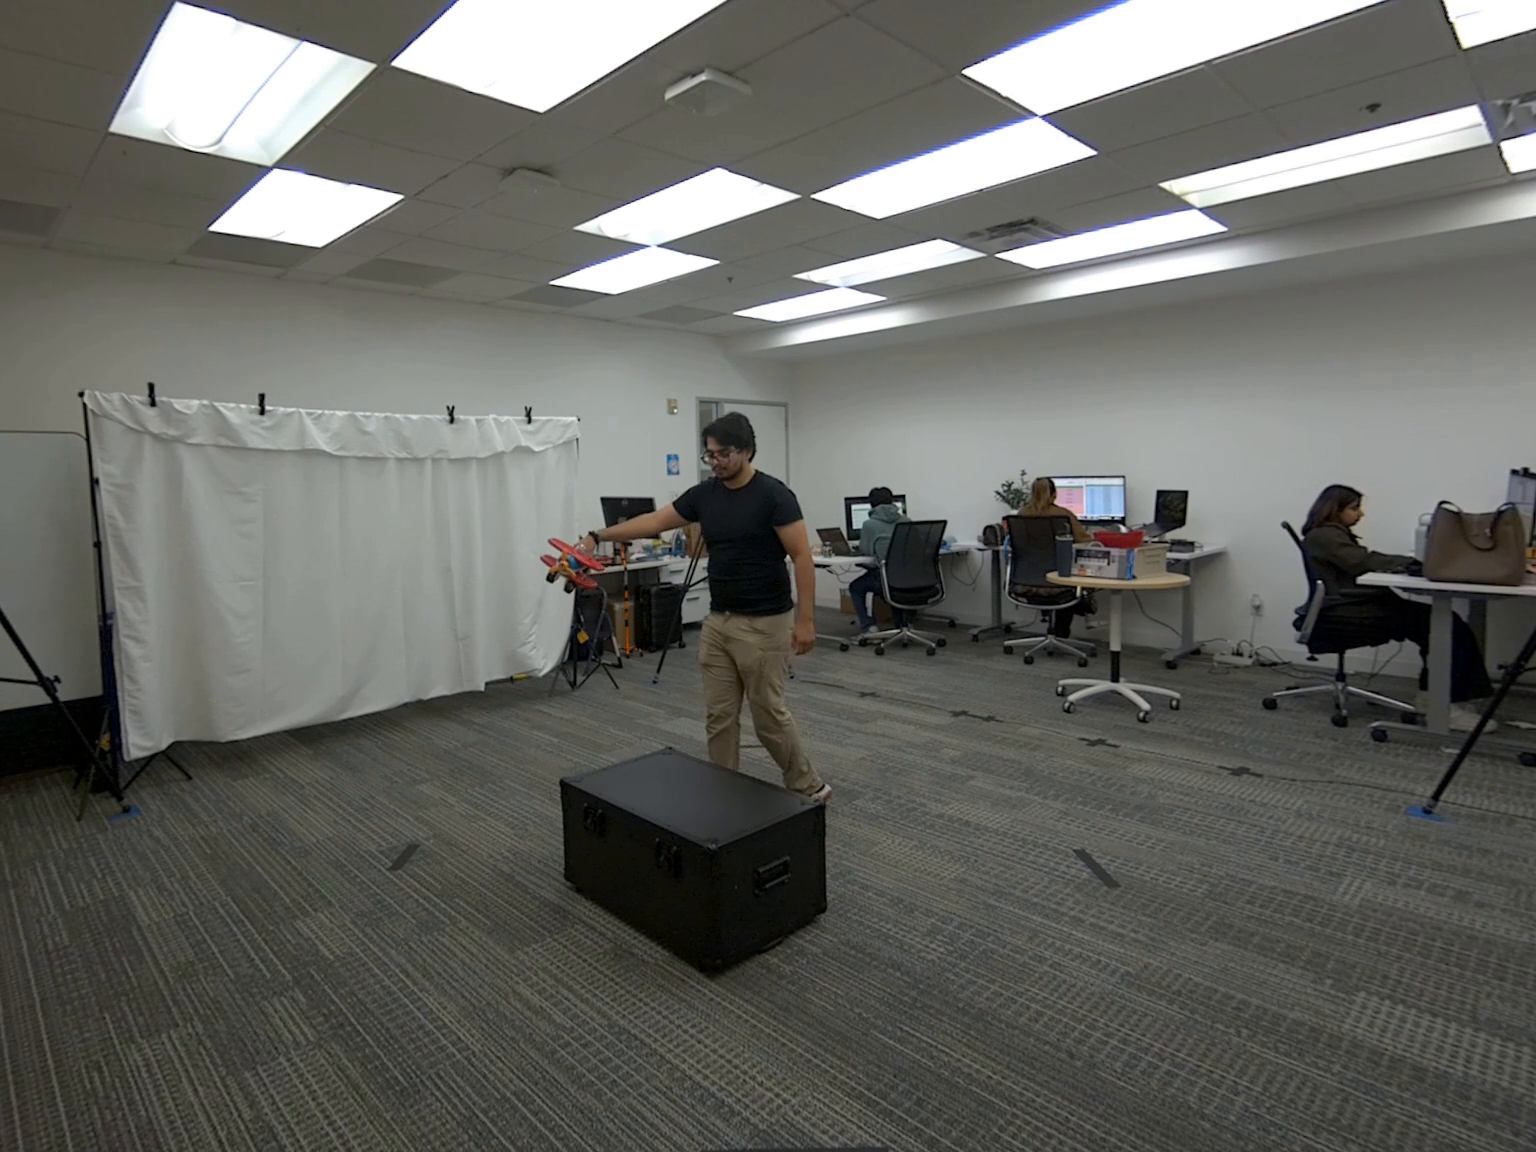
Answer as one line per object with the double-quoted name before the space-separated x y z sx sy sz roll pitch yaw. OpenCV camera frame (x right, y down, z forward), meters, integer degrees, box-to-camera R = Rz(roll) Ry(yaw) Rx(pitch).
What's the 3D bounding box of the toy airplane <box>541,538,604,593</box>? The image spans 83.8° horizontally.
"toy airplane" -0.788 -0.058 3.443 0.246 0.155 0.267 17 28 -17
